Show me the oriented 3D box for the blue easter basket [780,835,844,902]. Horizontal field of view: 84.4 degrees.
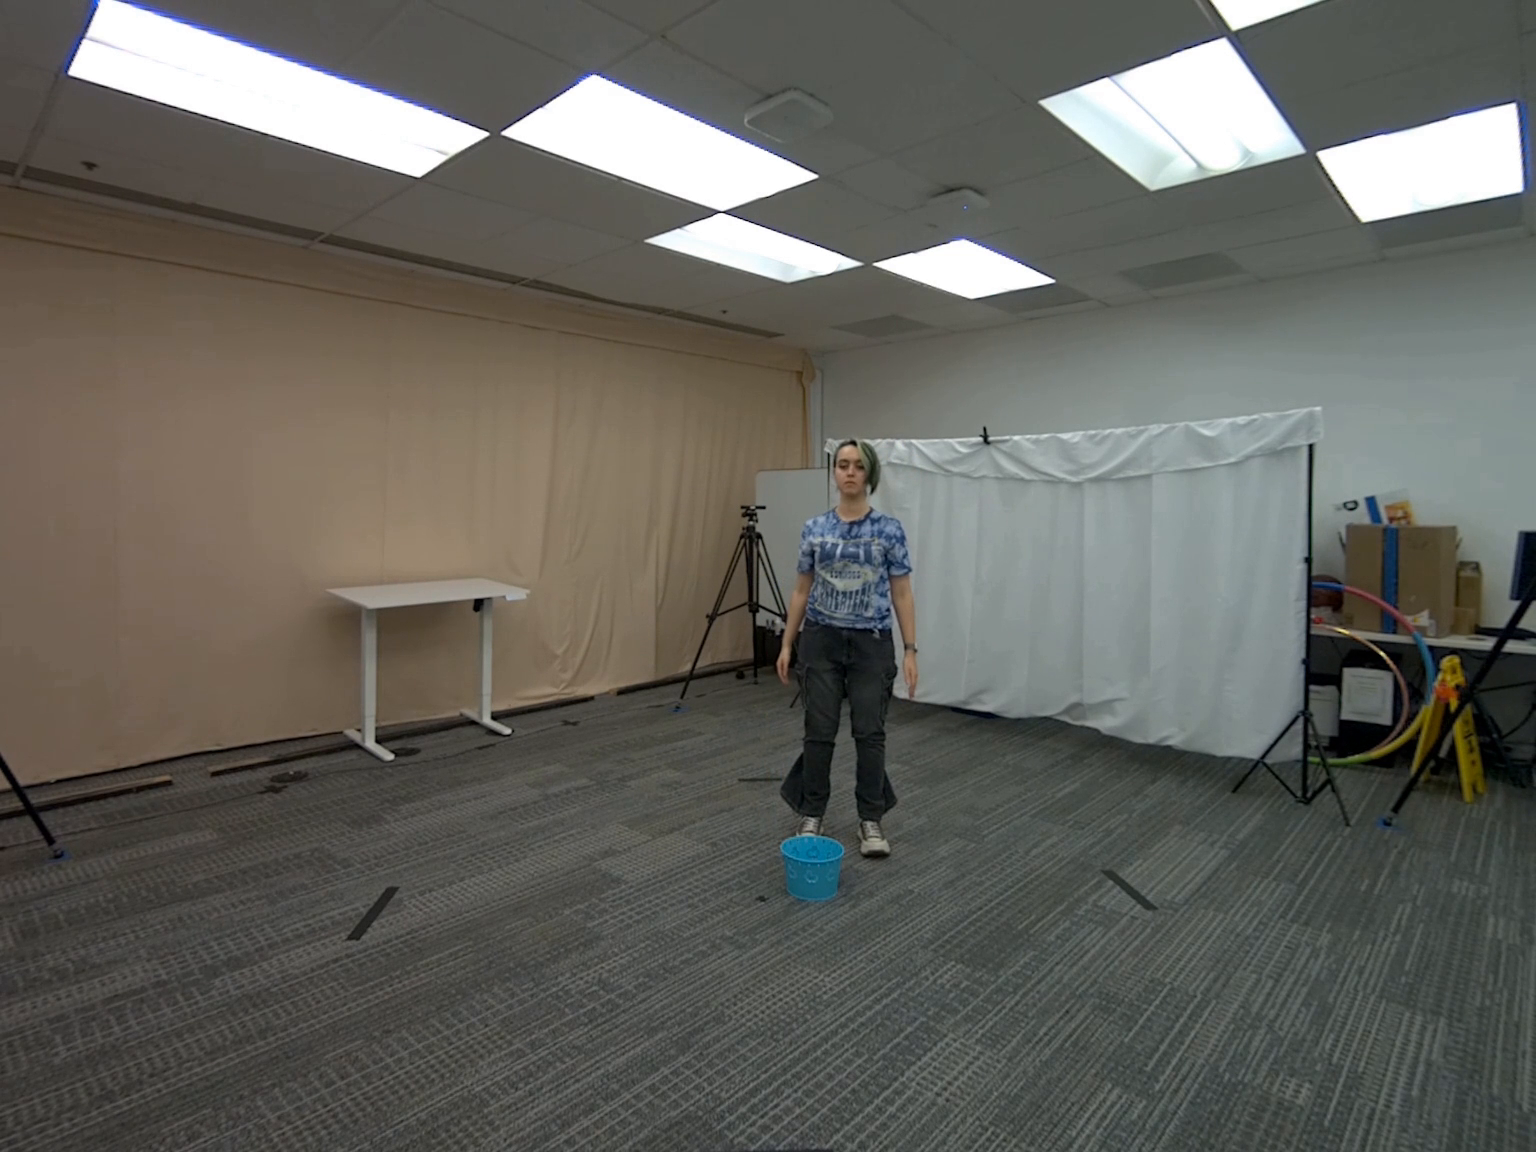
[{"bbox_3d":[0.164,1.055,3.056,0.243,0.156,0.244,-1,3,-2],"label":"blue easter basket"}]
